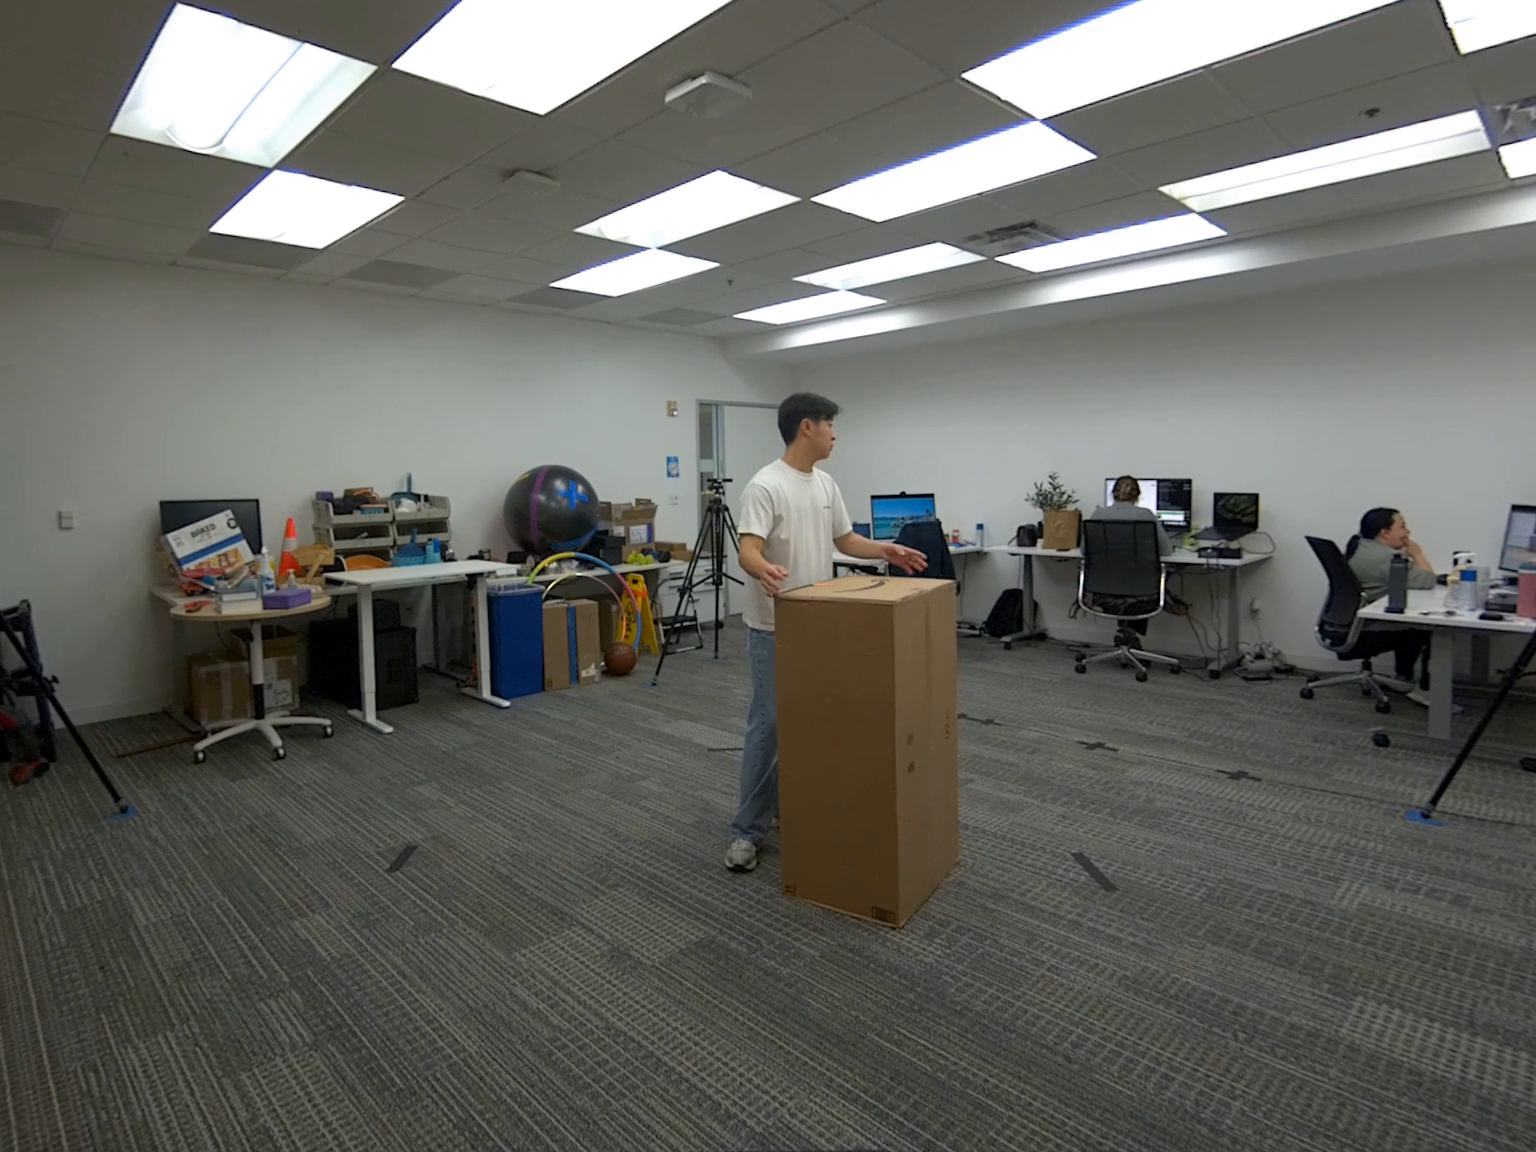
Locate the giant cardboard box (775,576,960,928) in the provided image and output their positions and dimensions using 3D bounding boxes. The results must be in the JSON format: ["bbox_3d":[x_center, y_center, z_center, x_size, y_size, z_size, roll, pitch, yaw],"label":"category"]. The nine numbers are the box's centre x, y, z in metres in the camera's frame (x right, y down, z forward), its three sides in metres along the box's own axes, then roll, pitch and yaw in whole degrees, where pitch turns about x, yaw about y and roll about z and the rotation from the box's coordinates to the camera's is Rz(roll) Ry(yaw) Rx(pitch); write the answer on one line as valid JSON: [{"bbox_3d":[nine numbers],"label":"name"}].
[{"bbox_3d":[0.363,0.546,2.940,0.438,1.022,0.564,0,4,32],"label":"giant cardboard box"}]
